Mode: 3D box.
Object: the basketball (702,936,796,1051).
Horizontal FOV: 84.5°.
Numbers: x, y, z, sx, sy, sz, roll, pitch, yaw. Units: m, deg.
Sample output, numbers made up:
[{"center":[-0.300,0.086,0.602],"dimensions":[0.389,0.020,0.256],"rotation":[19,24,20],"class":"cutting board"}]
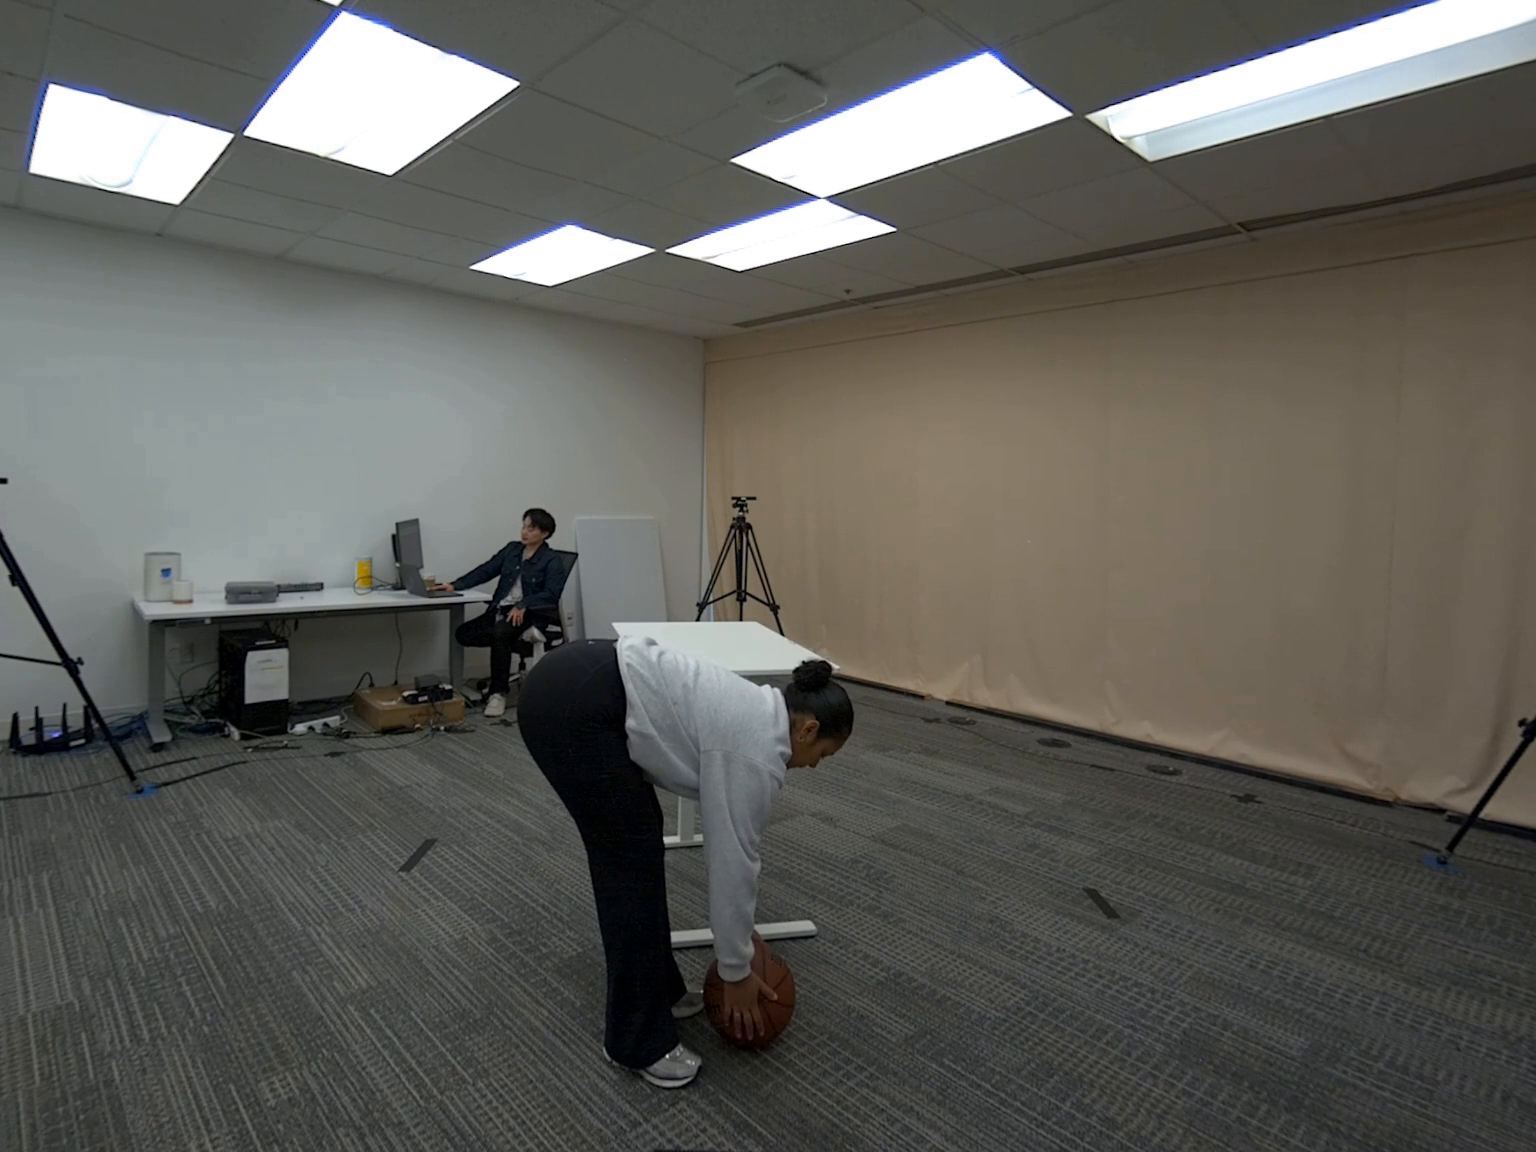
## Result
[{"center":[-0.054,1.077,2.154],"dimensions":[0.236,0.235,0.237],"rotation":[1,4,-1],"class":"basketball"}]
